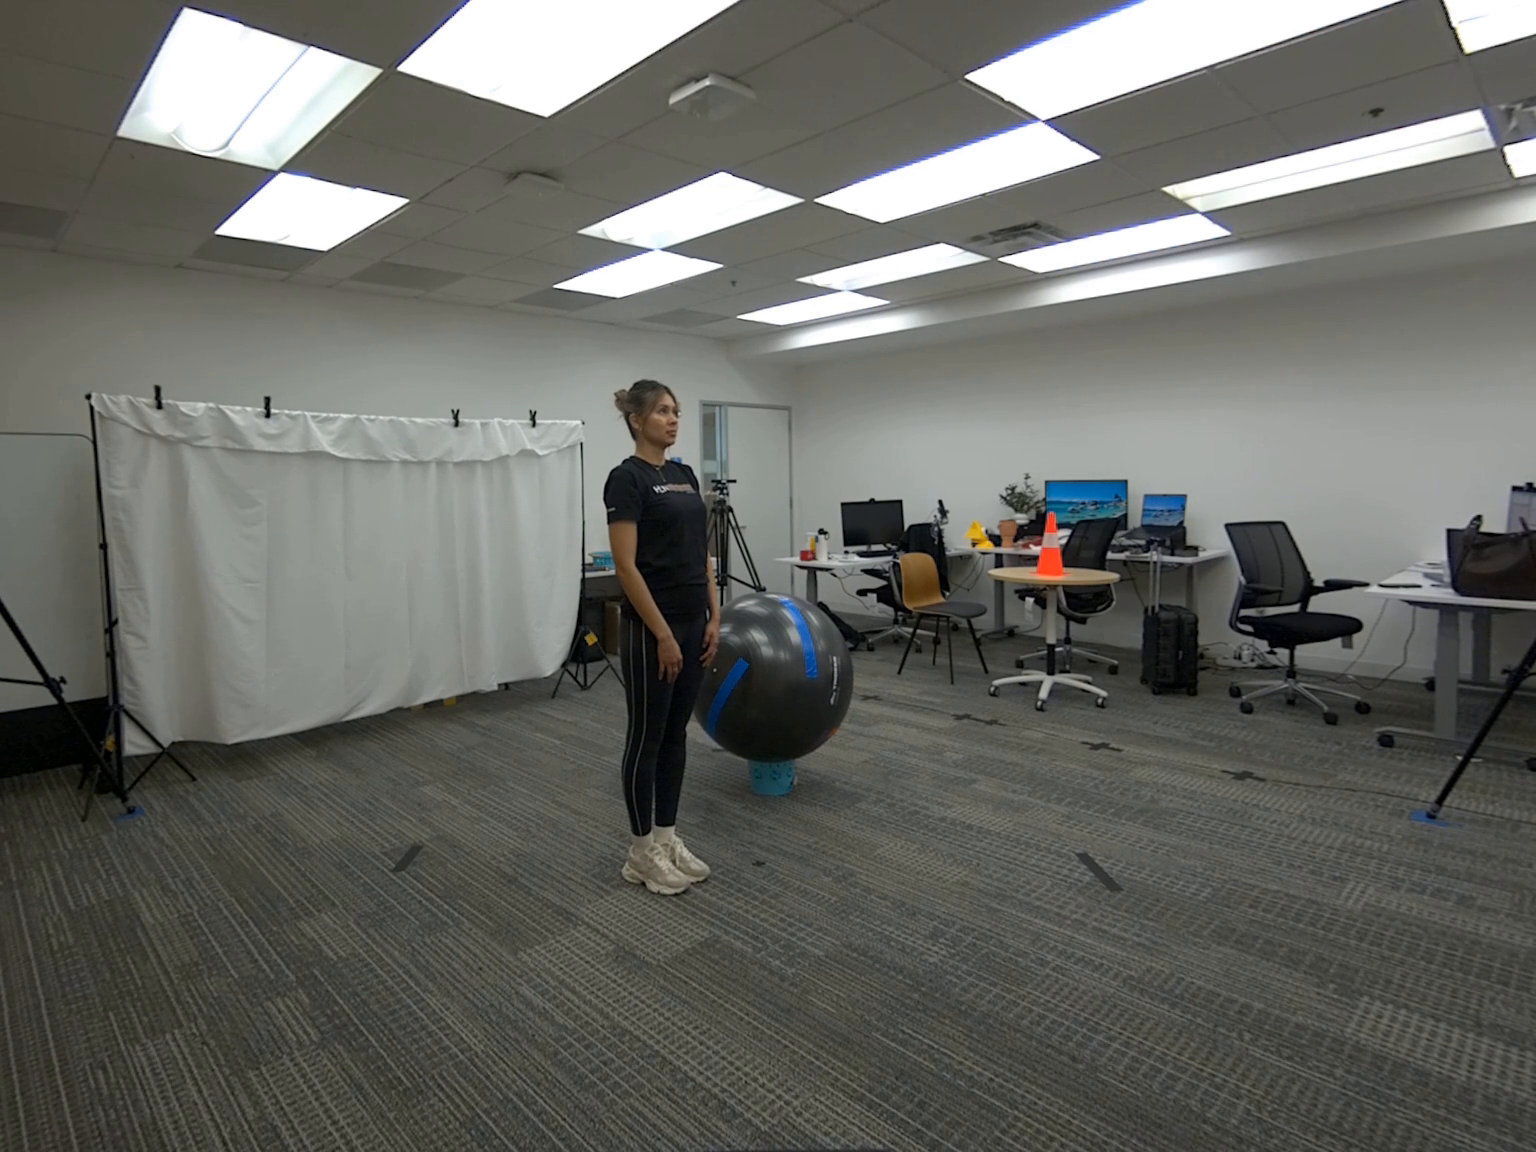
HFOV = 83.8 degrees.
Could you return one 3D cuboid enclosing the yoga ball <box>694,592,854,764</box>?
[{"bbox_3d":[0.005,0.458,3.856,0.757,0.755,0.762,-1,5,-2],"label":"yoga ball"}]
